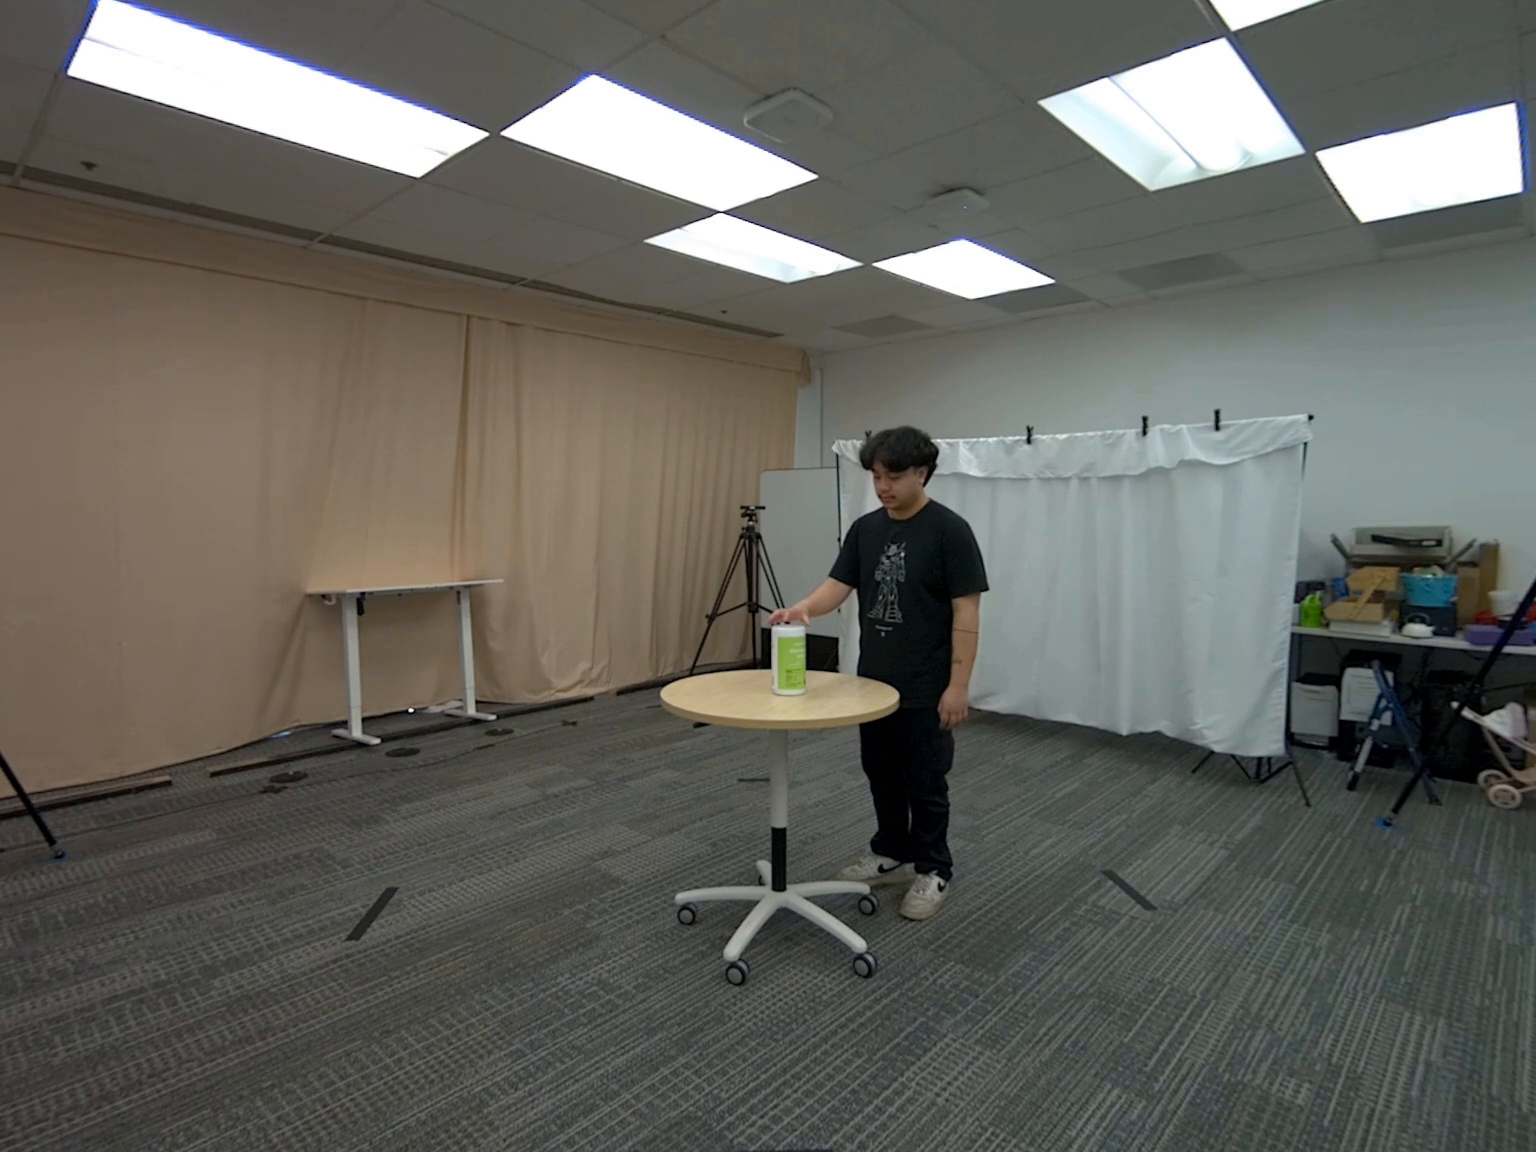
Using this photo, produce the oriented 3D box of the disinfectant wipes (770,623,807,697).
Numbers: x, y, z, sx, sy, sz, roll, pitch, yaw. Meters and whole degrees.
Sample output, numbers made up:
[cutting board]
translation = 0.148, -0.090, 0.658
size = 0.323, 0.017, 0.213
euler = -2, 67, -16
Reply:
[disinfectant wipes]
translation = 0.071, 0.272, 2.703
size = 0.118, 0.217, 0.118
euler = 1, 4, -2
